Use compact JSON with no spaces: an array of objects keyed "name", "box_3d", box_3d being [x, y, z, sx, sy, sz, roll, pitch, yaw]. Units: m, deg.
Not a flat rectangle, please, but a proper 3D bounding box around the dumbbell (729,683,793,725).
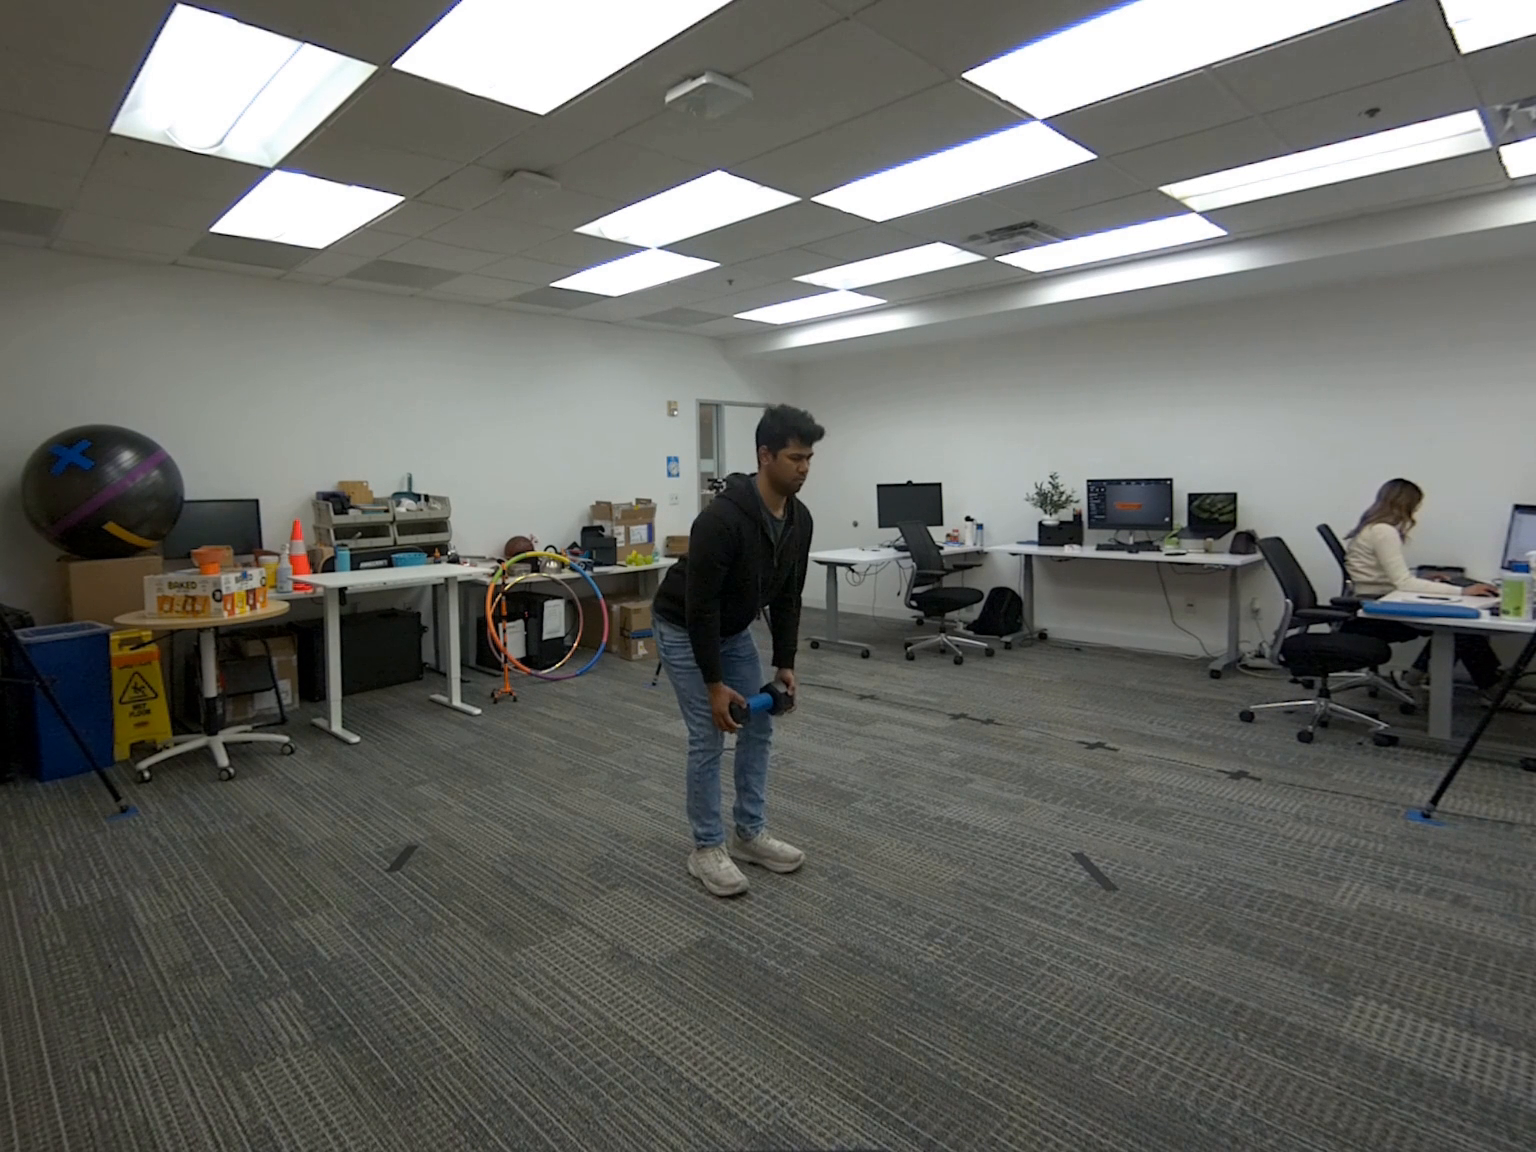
[{"name":"dumbbell","box_3d":[-0.051,0.445,2.959,0.286,0.111,0.123,-10,-20,-42]}]
